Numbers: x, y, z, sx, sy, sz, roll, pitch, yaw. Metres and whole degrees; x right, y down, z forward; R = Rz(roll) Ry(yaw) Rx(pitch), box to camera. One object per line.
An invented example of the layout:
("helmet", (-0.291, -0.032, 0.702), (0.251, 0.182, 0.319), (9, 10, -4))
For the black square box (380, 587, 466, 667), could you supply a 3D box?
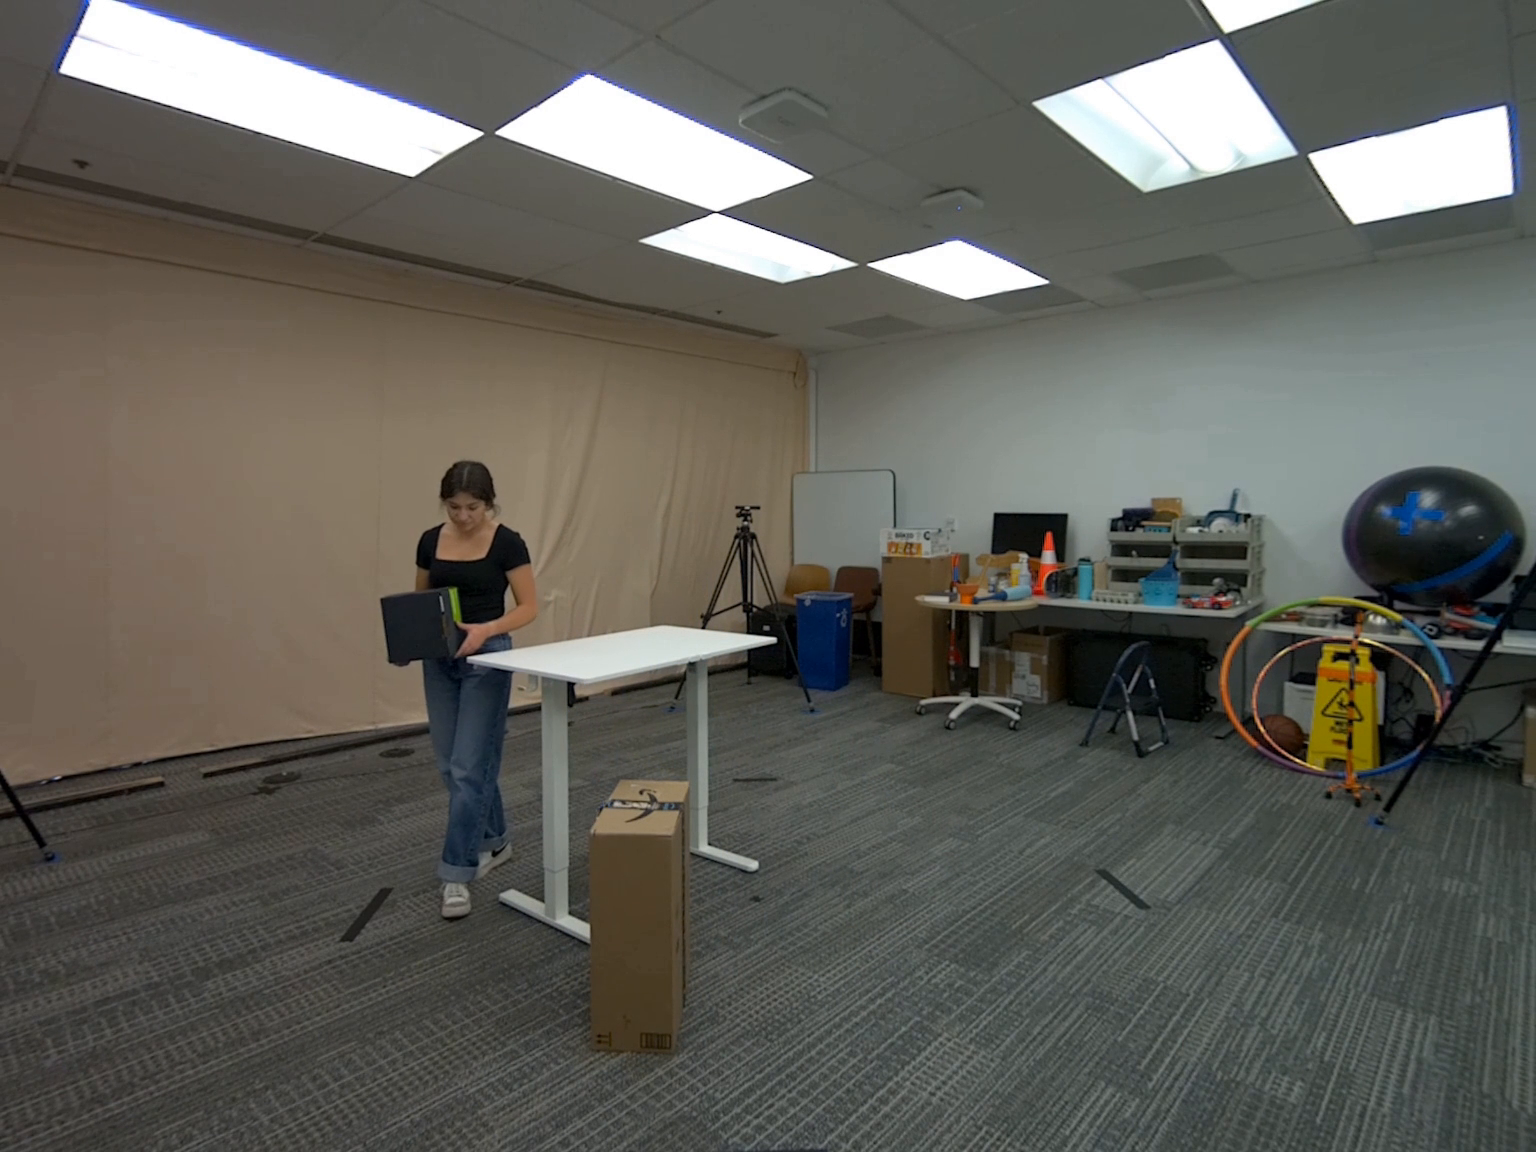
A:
("black square box", (-1.180, 0.162, 2.899), (0.218, 0.227, 0.156), (-5, 4, 3))
